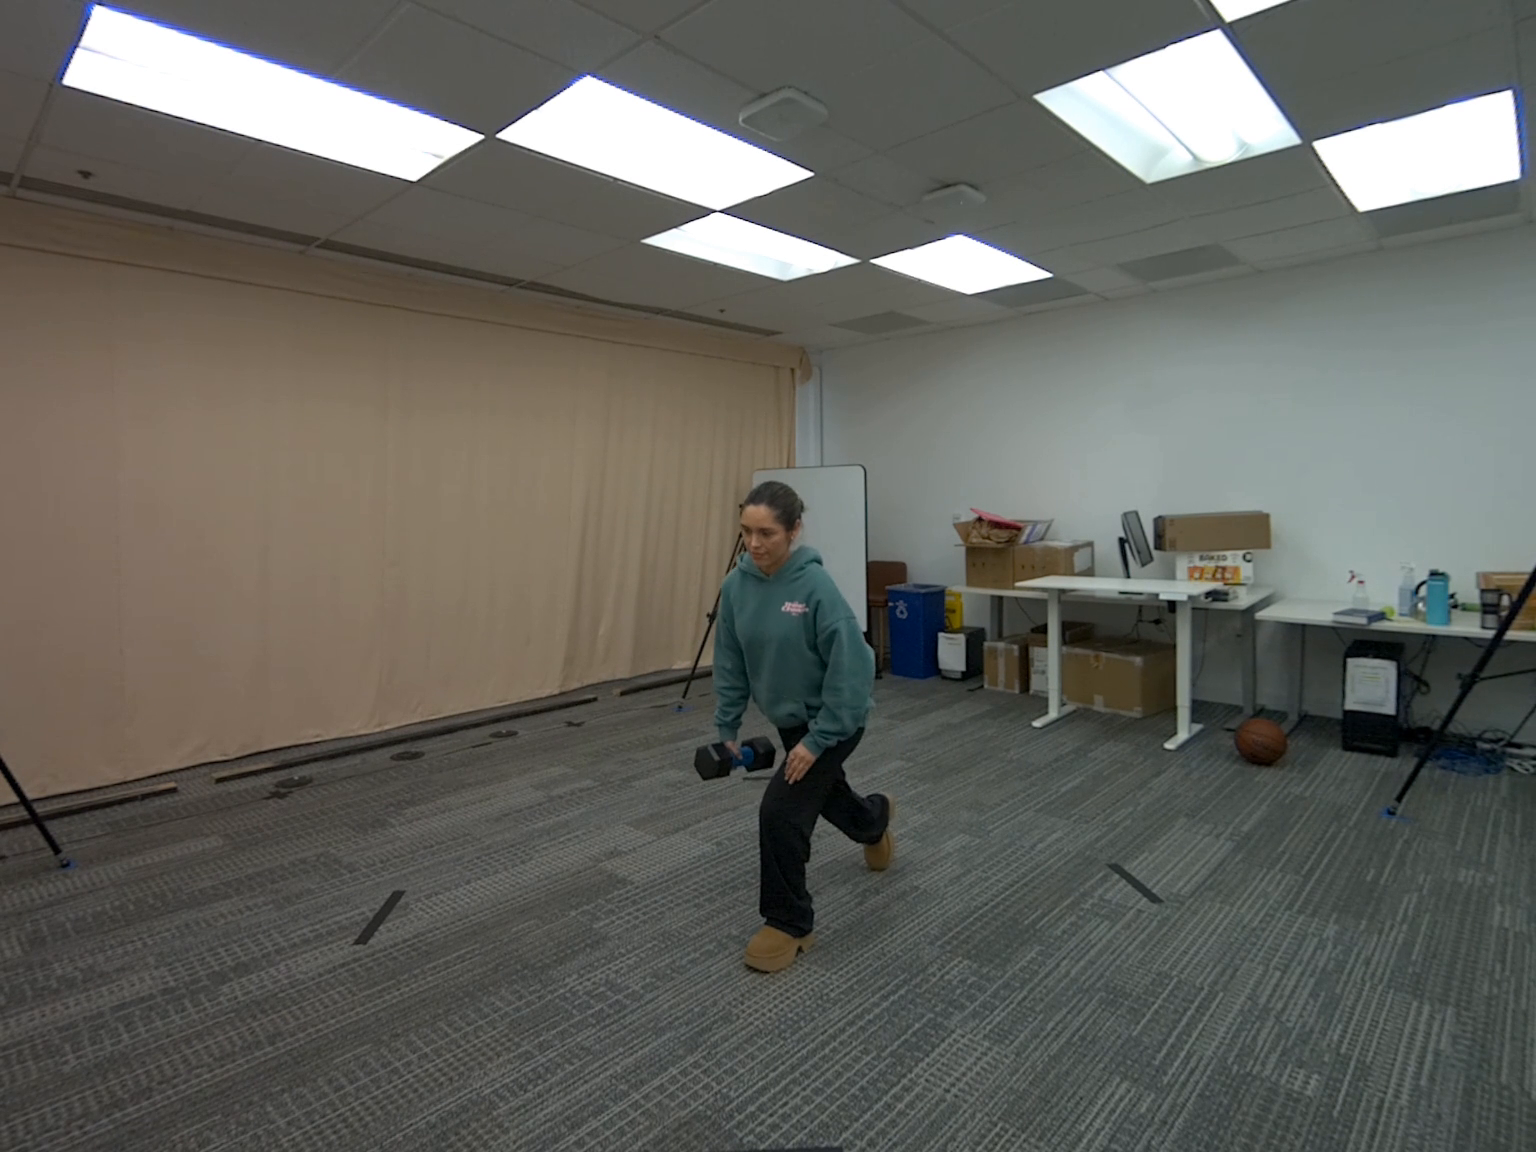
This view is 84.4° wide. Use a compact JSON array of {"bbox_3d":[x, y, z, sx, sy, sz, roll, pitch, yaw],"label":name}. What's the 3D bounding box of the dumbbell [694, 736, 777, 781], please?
[{"bbox_3d":[-0.106,0.599,2.749,0.284,0.109,0.127,4,37,-47],"label":"dumbbell"}]
